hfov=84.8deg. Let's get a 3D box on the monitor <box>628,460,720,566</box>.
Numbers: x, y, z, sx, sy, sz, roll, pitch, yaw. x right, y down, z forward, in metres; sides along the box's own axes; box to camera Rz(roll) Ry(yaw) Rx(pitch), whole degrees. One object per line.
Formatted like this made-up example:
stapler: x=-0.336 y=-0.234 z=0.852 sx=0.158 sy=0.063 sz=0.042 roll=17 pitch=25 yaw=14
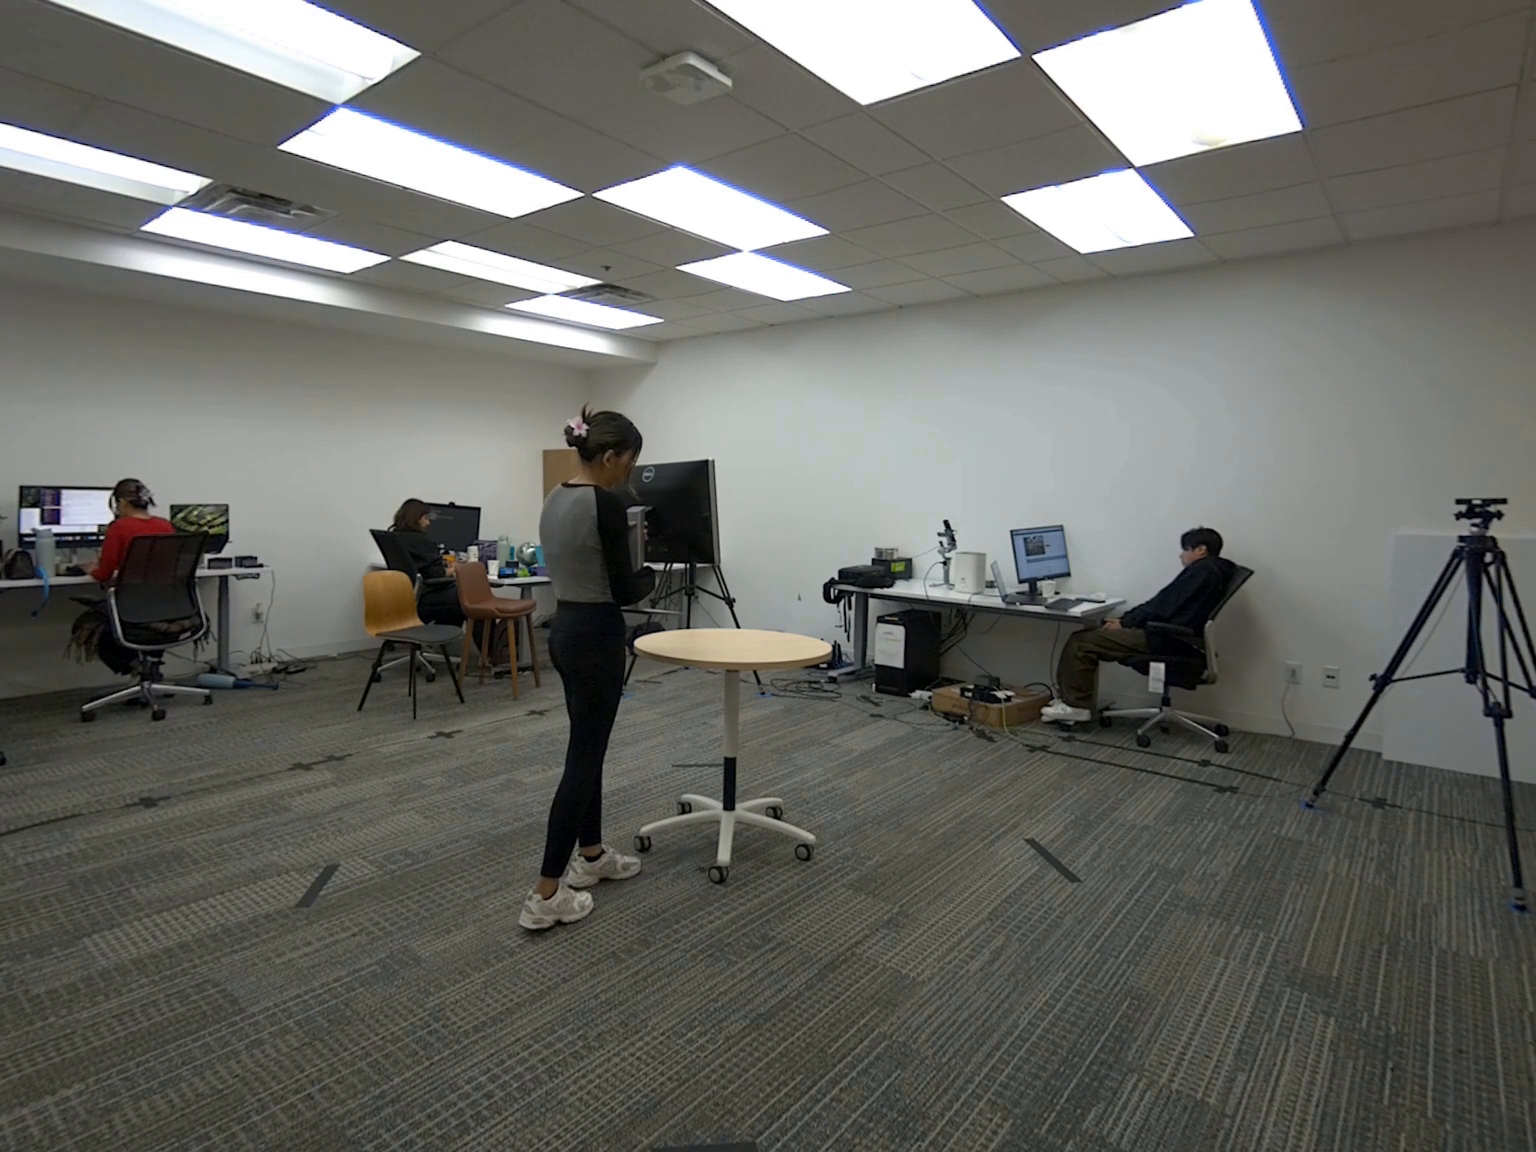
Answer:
monitor: x=-0.436 y=-0.140 z=3.040 sx=0.556 sy=0.524 sz=0.180 roll=1 pitch=-5 yaw=39
